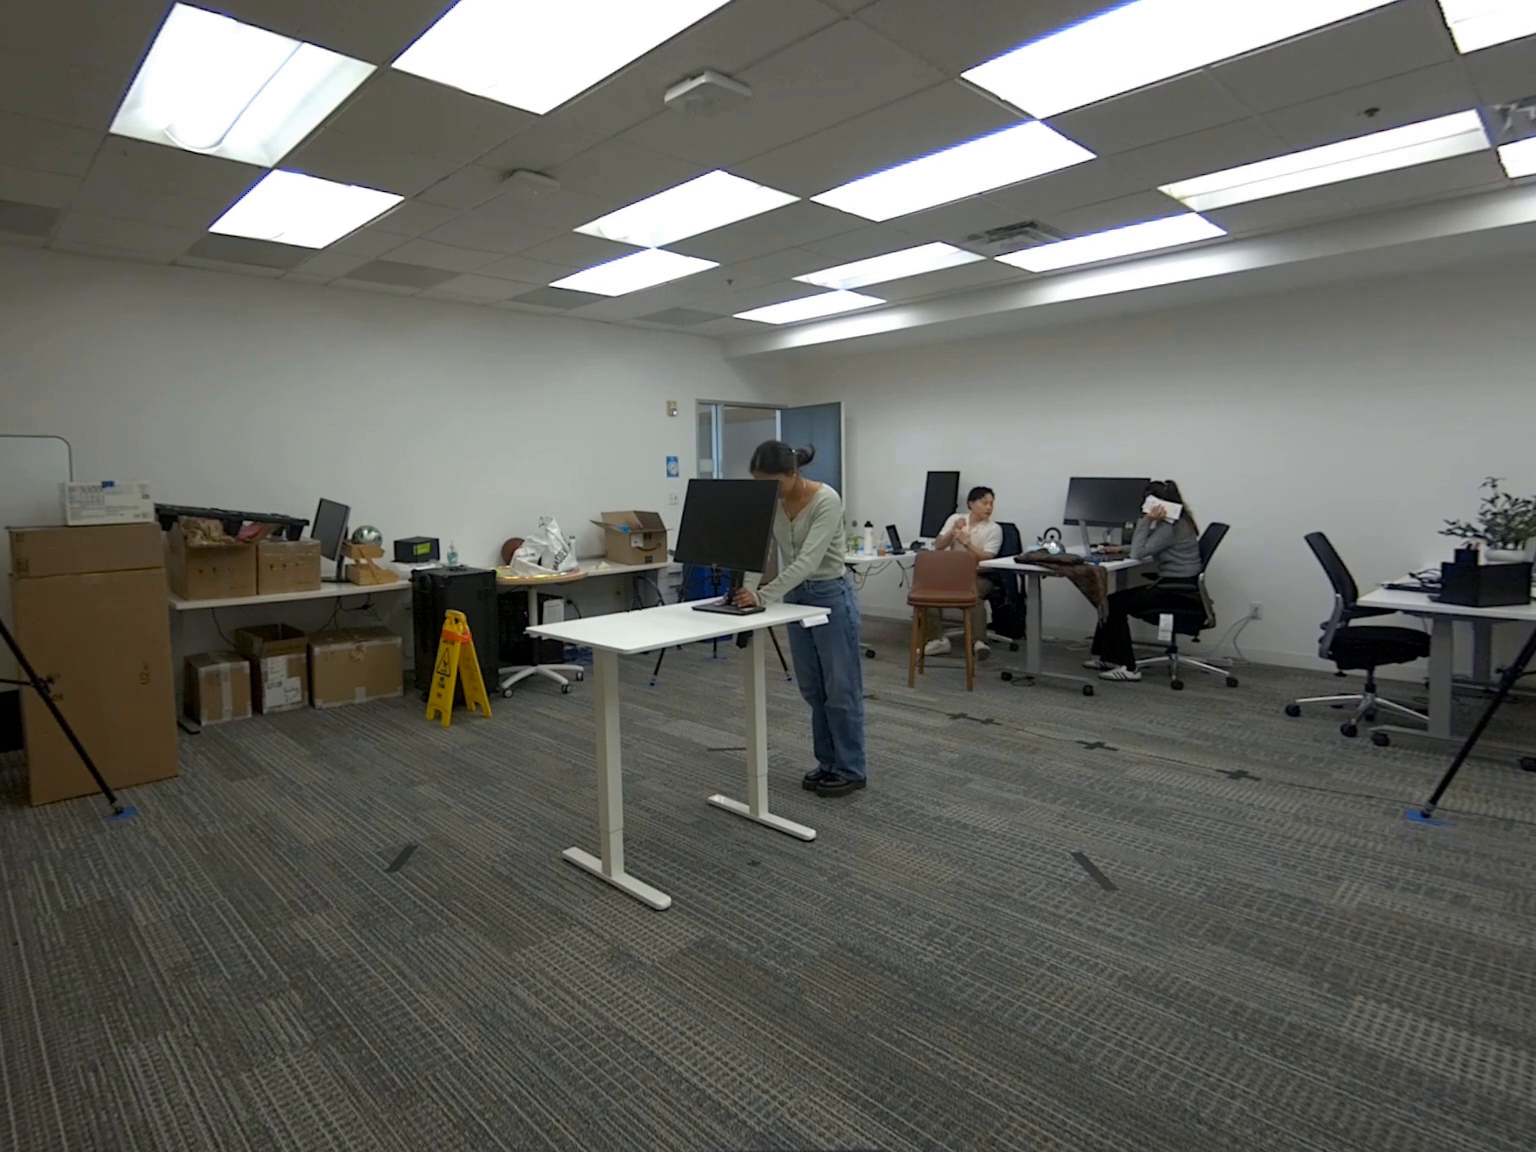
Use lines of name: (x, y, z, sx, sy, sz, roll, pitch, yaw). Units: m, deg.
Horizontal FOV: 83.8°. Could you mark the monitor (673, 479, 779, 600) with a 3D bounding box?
monitor: (-0.148, -0.119, 3.344, 0.182, 0.521, 0.556, -3, 6, -44)
